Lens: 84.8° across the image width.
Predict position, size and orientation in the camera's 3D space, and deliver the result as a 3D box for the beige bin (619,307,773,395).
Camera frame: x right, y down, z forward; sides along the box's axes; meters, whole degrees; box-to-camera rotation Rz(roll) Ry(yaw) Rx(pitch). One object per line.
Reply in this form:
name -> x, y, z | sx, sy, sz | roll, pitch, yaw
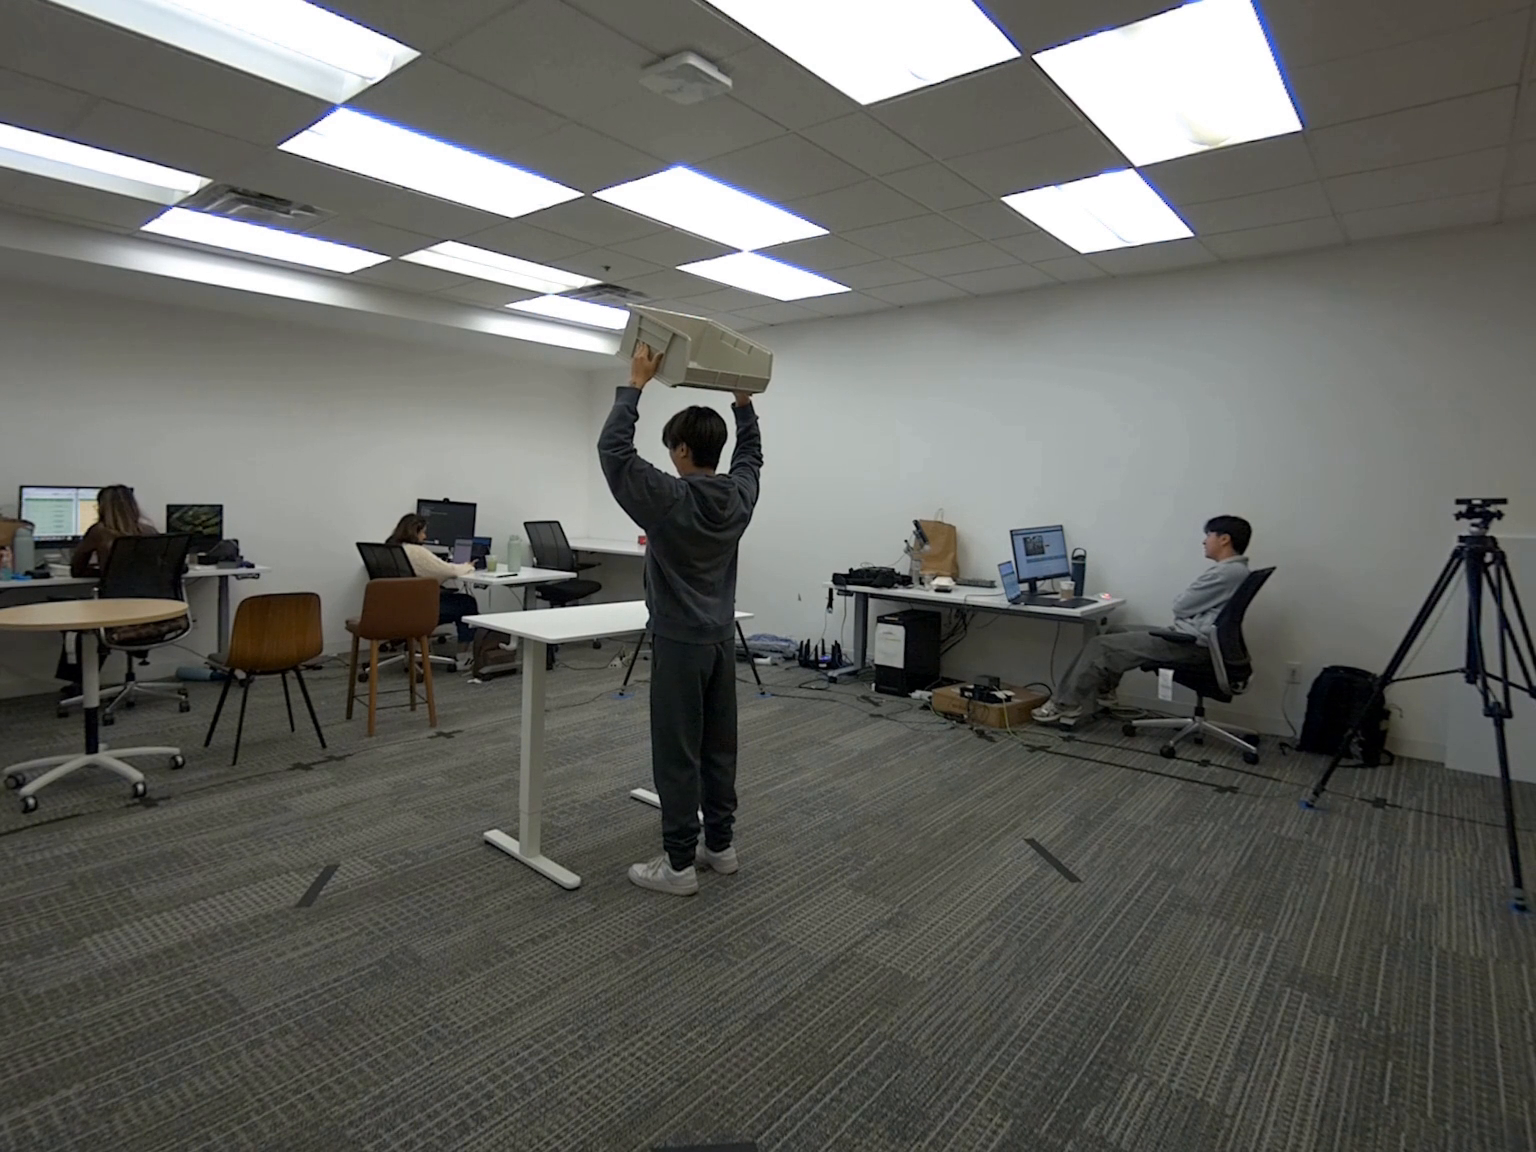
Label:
beige bin -> -0.261, -0.778, 2.978 | 0.410, 0.187, 0.393 | -7, 34, -47
